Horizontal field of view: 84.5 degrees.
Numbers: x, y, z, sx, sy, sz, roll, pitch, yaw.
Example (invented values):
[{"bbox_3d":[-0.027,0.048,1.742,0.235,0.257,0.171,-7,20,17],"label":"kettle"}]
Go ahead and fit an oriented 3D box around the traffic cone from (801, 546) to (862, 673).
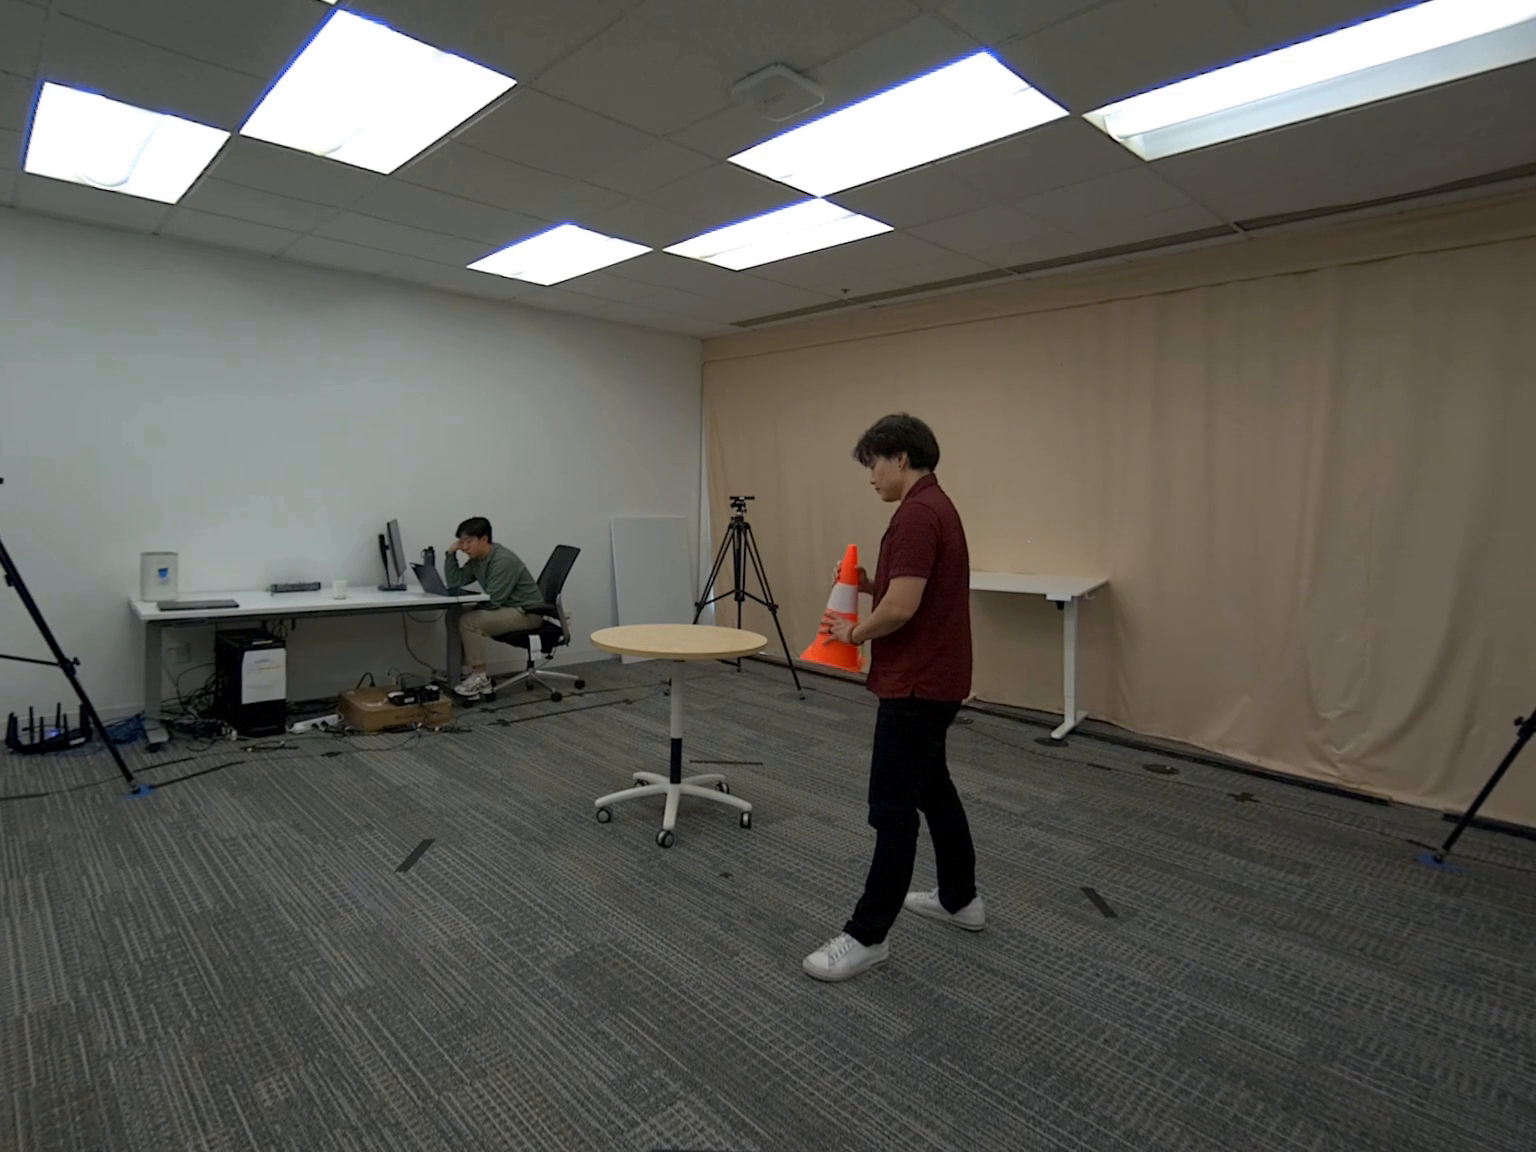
[{"bbox_3d":[0.250,0.086,2.748,0.206,0.381,0.203,11,9,15],"label":"traffic cone"}]
